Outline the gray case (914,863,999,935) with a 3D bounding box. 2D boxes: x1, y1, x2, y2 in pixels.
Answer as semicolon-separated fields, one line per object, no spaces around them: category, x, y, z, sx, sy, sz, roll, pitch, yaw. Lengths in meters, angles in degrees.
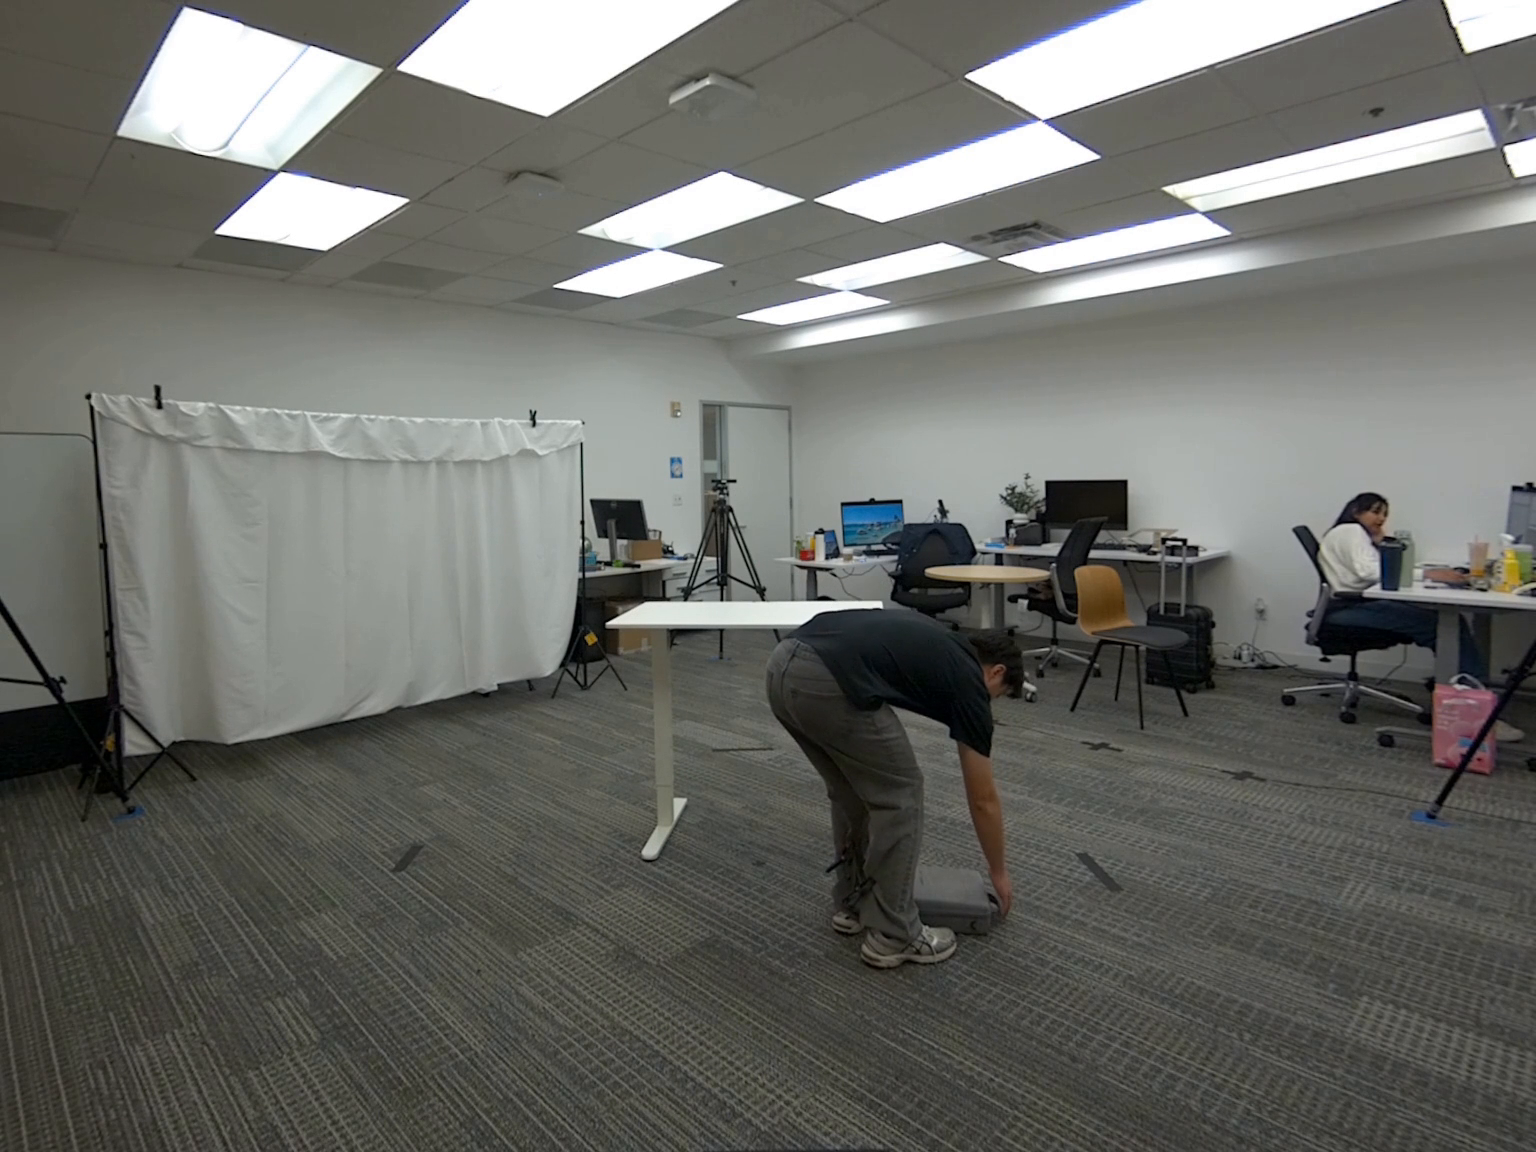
gray case;0.578;1.019;2.712;0.290;0.103;0.262;-1;4;8
